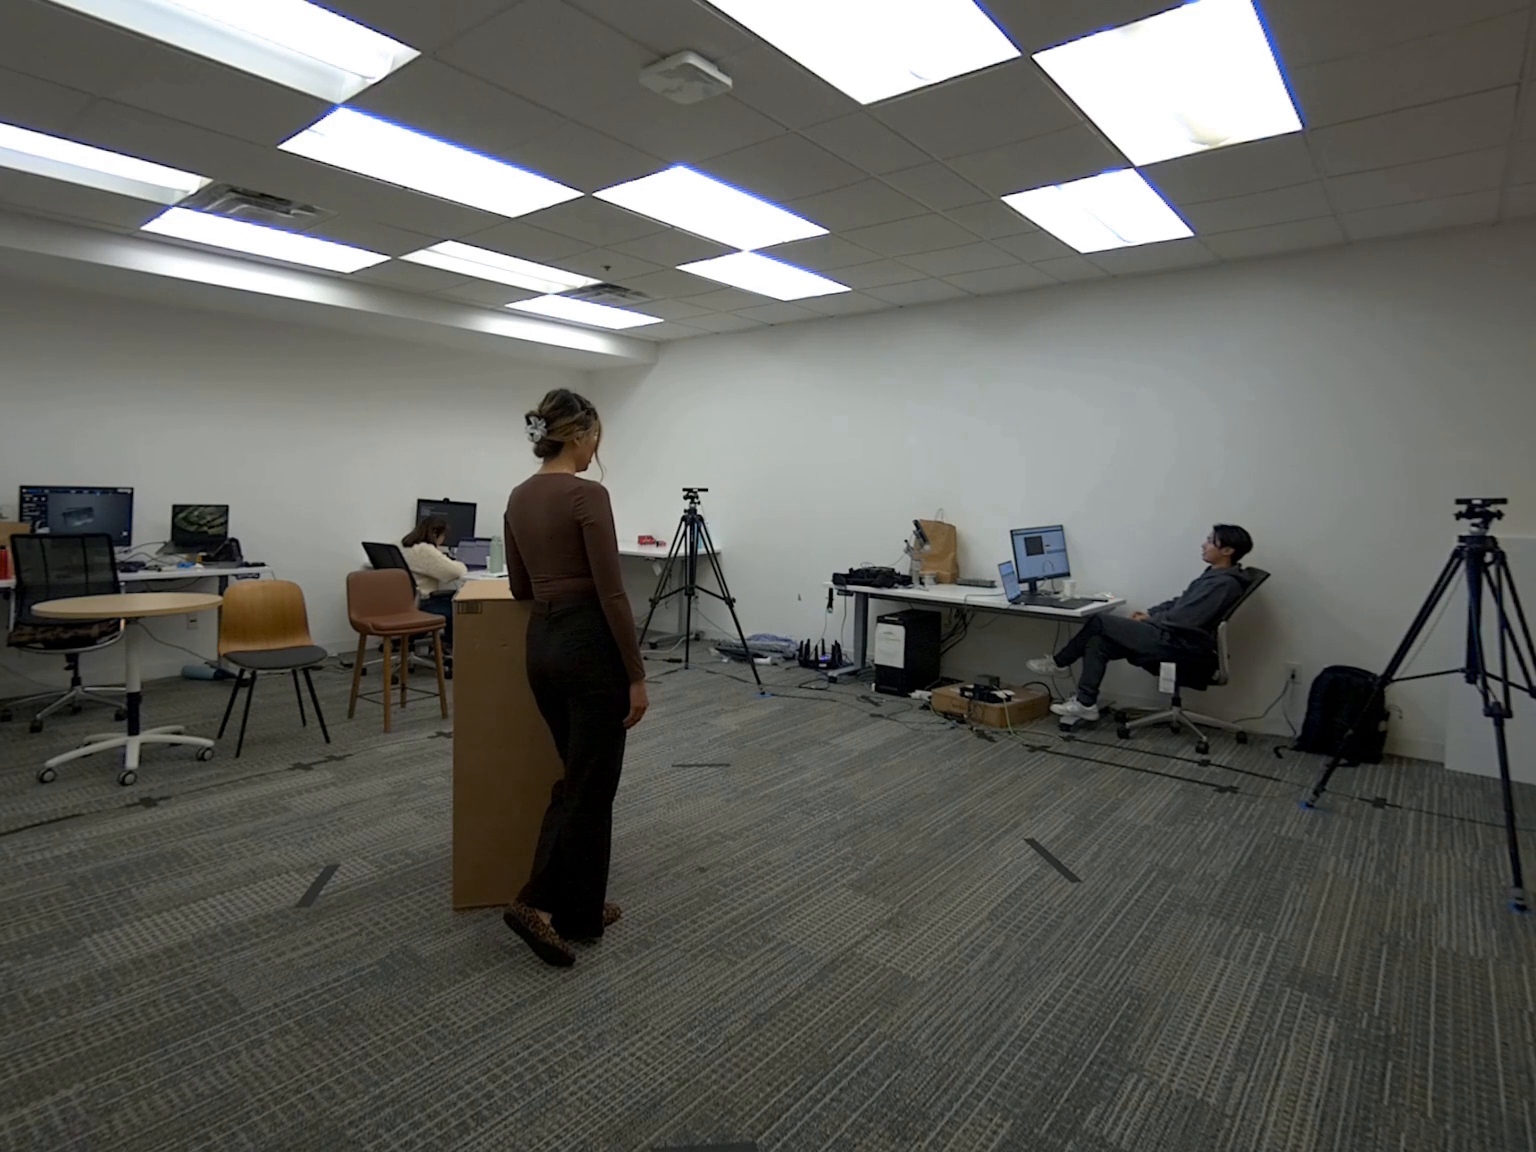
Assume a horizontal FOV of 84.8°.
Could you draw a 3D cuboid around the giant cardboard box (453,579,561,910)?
[{"bbox_3d":[-0.910,0.552,3.080,0.440,1.024,0.594,0,3,-15],"label":"giant cardboard box"}]
